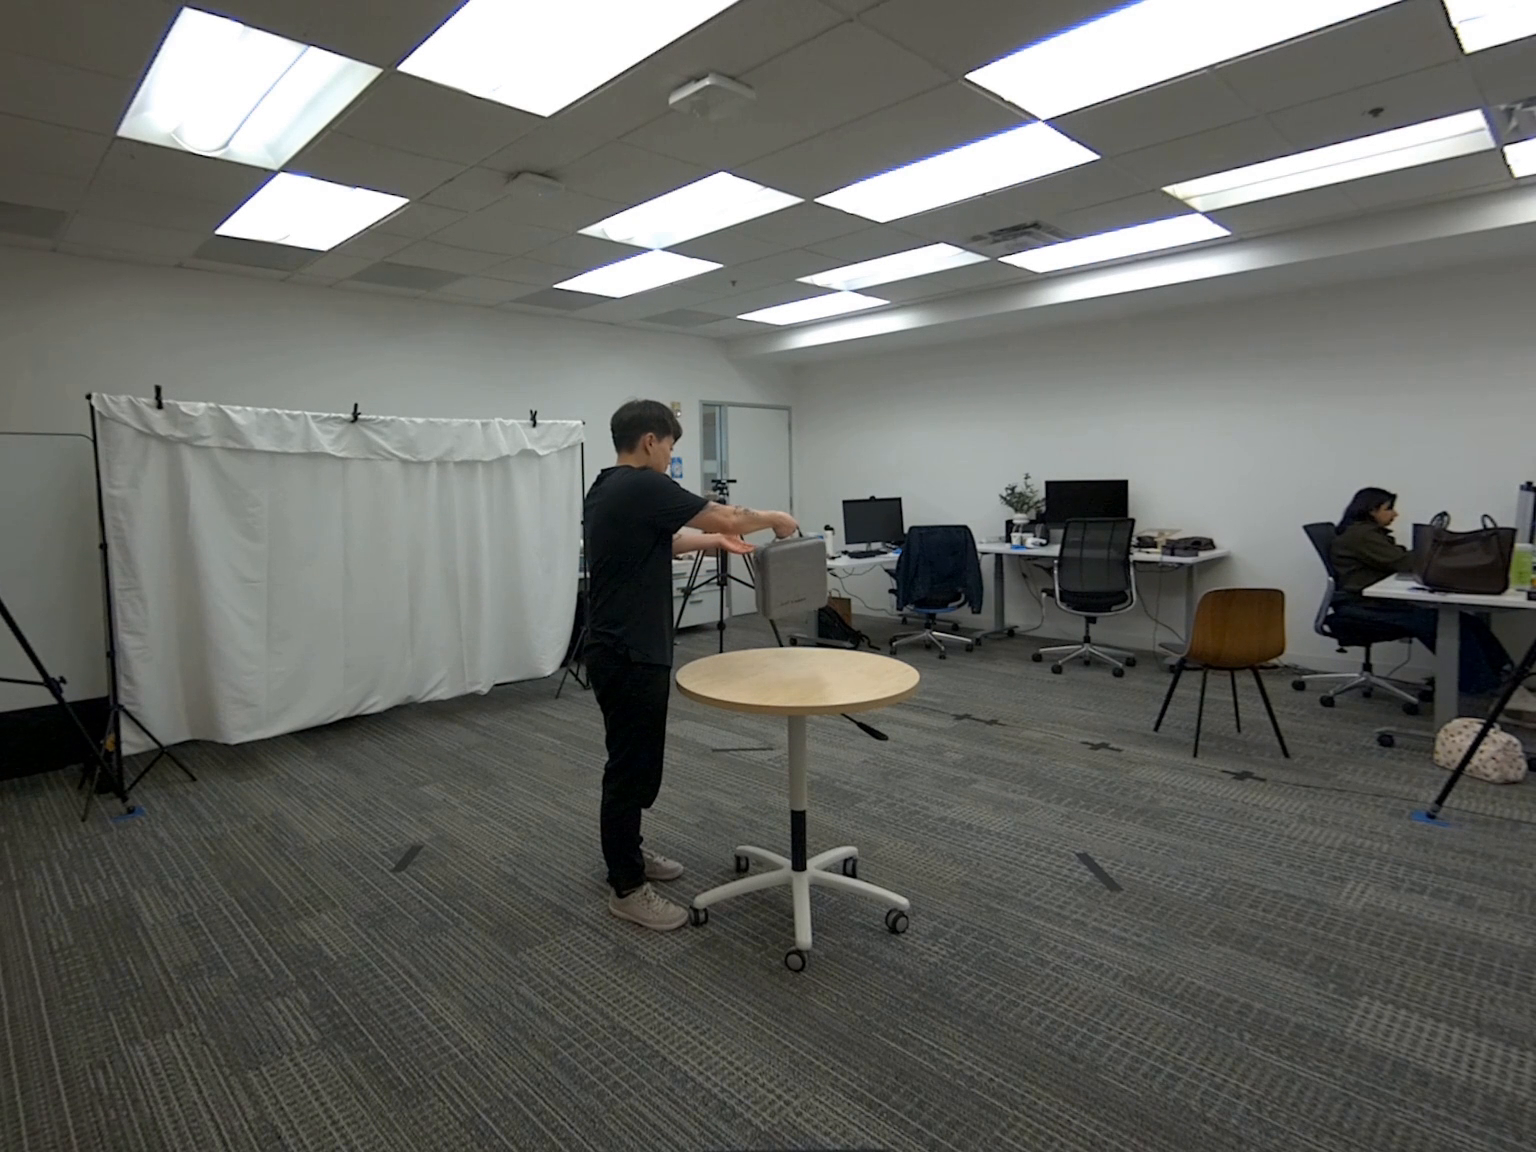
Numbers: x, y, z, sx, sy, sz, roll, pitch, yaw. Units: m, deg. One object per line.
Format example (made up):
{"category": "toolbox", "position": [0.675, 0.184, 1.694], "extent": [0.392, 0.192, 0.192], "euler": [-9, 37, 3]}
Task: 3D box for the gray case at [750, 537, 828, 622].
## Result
{"category": "gray case", "position": [0.074, -0.002, 2.934], "extent": [0.252, 0.258, 0.107], "euler": [-10, 12, -25]}
